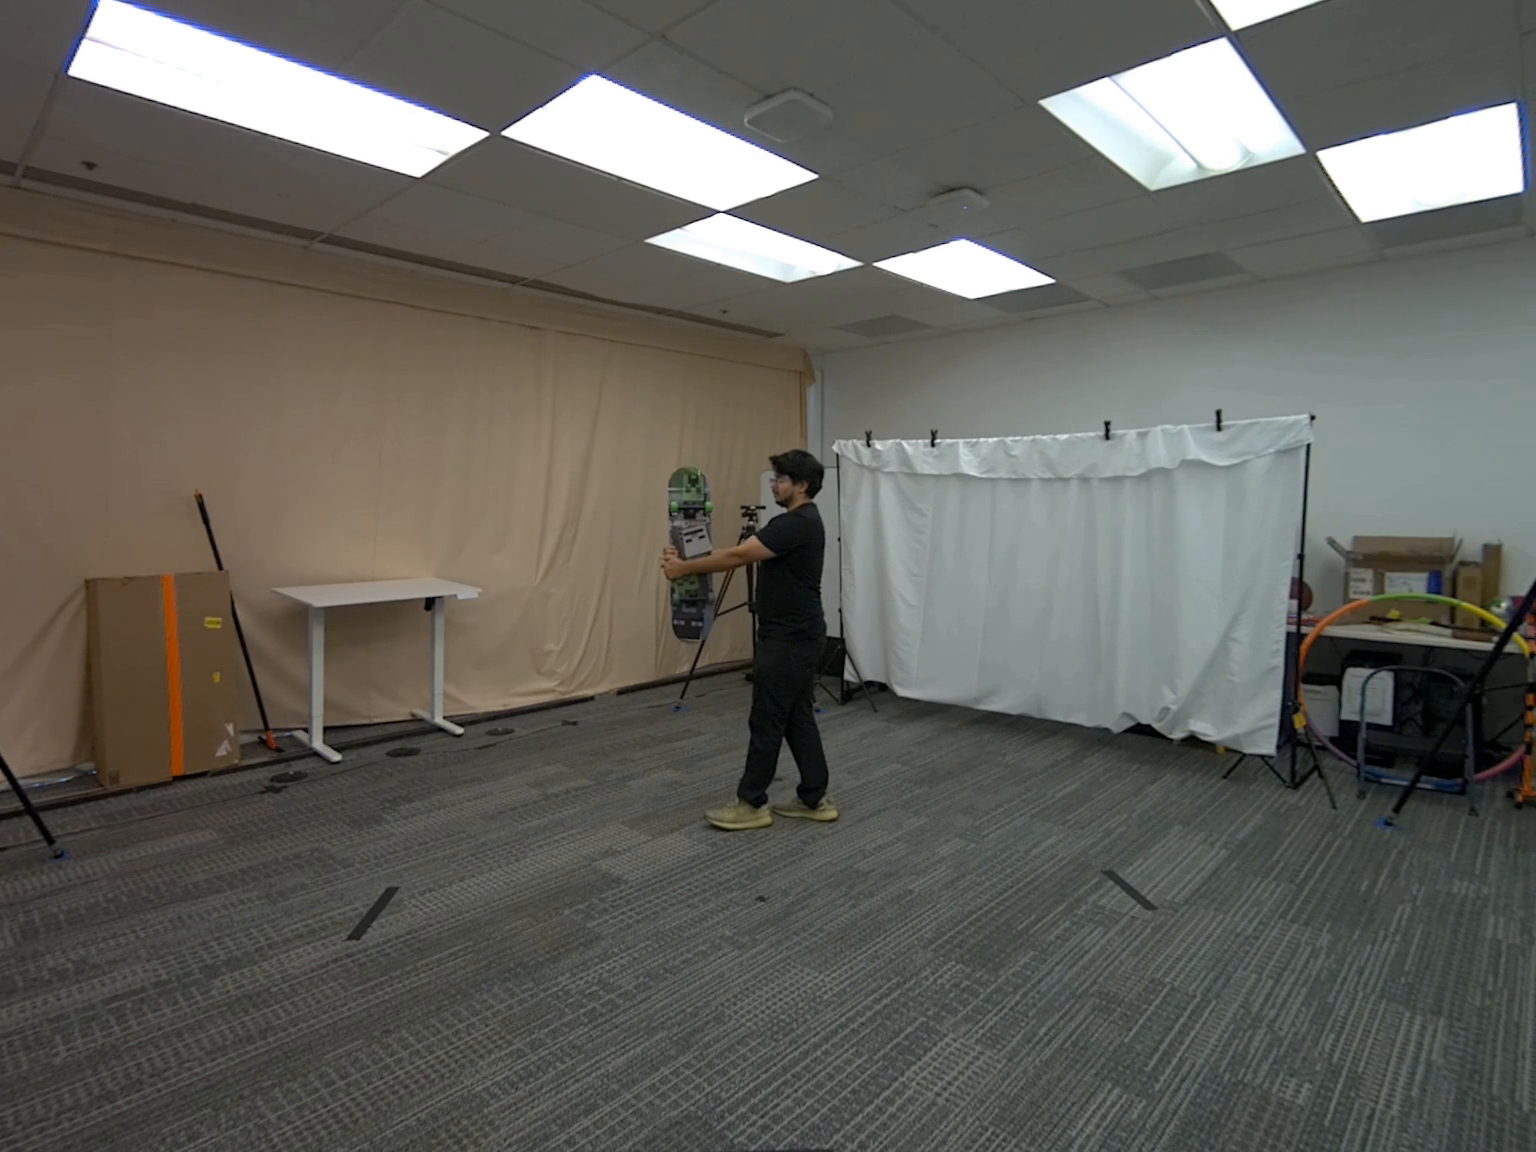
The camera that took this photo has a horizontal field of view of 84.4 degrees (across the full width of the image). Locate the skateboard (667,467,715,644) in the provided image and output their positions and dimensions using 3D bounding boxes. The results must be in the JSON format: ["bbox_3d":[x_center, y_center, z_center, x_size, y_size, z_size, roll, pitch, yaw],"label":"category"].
[{"bbox_3d":[-0.326,-0.090,3.702,0.191,0.788,0.111,0,-5,-12],"label":"skateboard"}]
